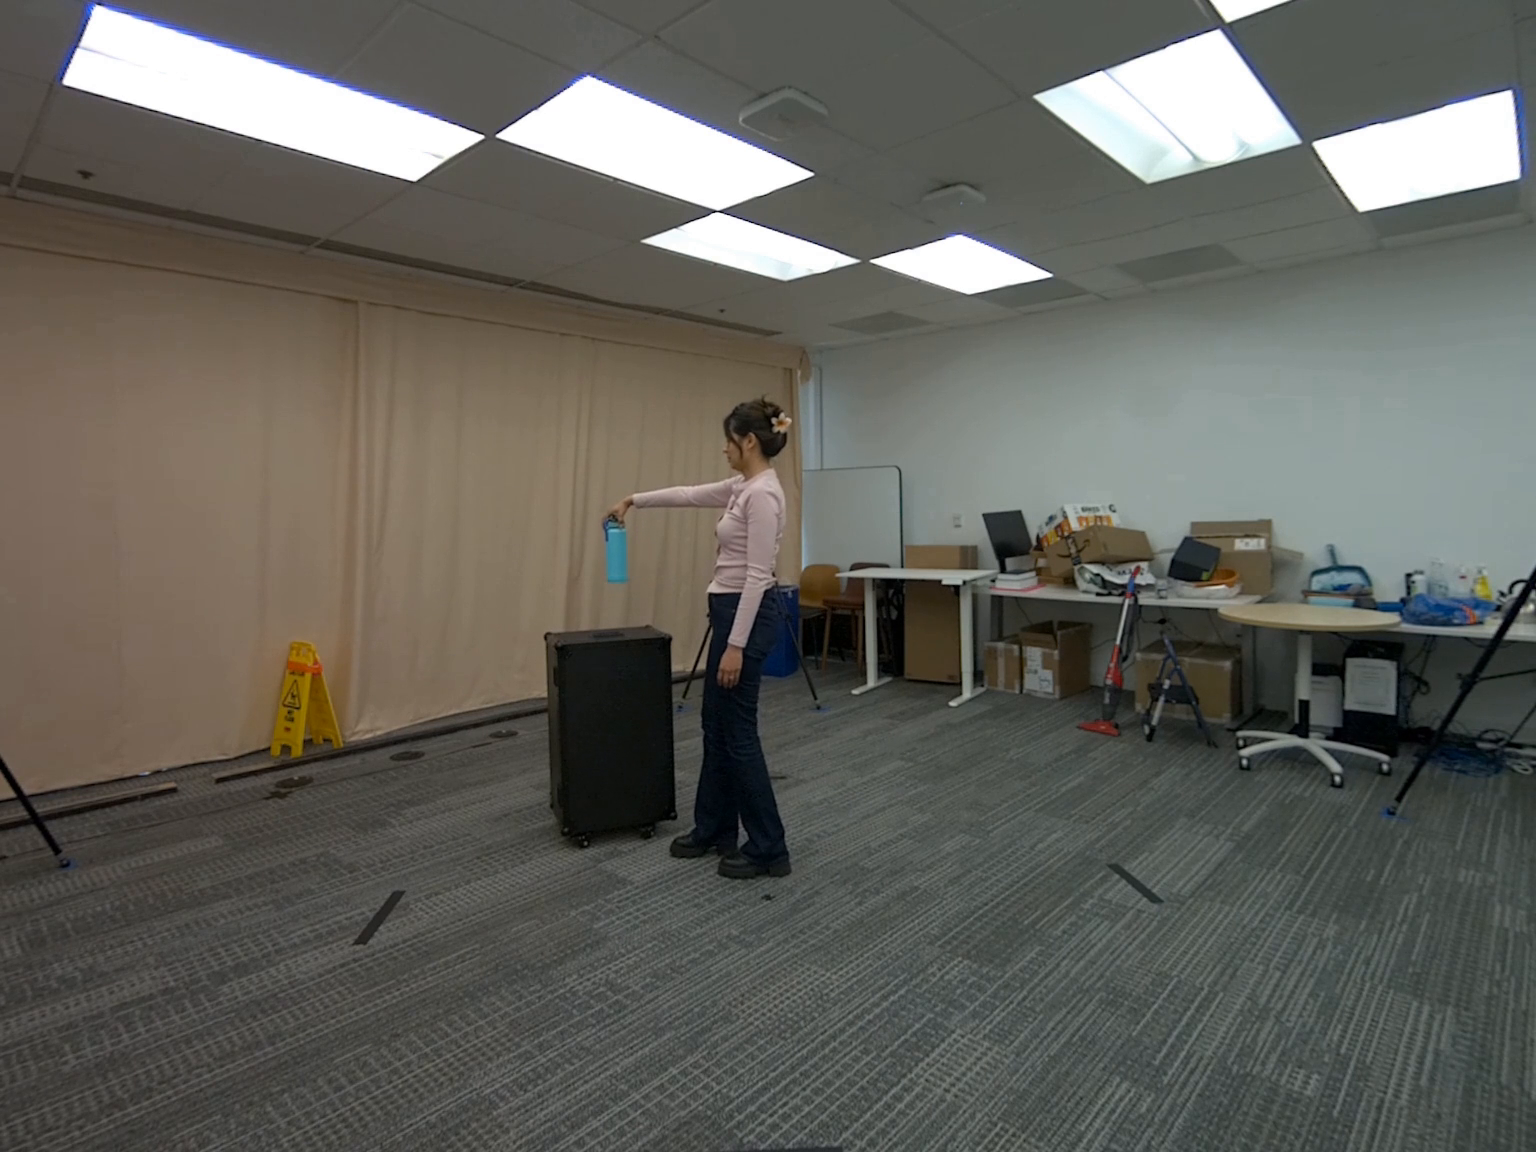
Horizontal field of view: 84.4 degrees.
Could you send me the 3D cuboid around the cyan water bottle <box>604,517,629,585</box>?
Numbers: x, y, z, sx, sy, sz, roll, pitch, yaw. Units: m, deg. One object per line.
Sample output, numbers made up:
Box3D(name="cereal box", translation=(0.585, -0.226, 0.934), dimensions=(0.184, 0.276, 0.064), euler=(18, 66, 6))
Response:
Box3D(name="cyan water bottle", translation=(-0.642, -0.112, 3.542), dimensions=(0.092, 0.282, 0.093), euler=(-2, 5, -2))
